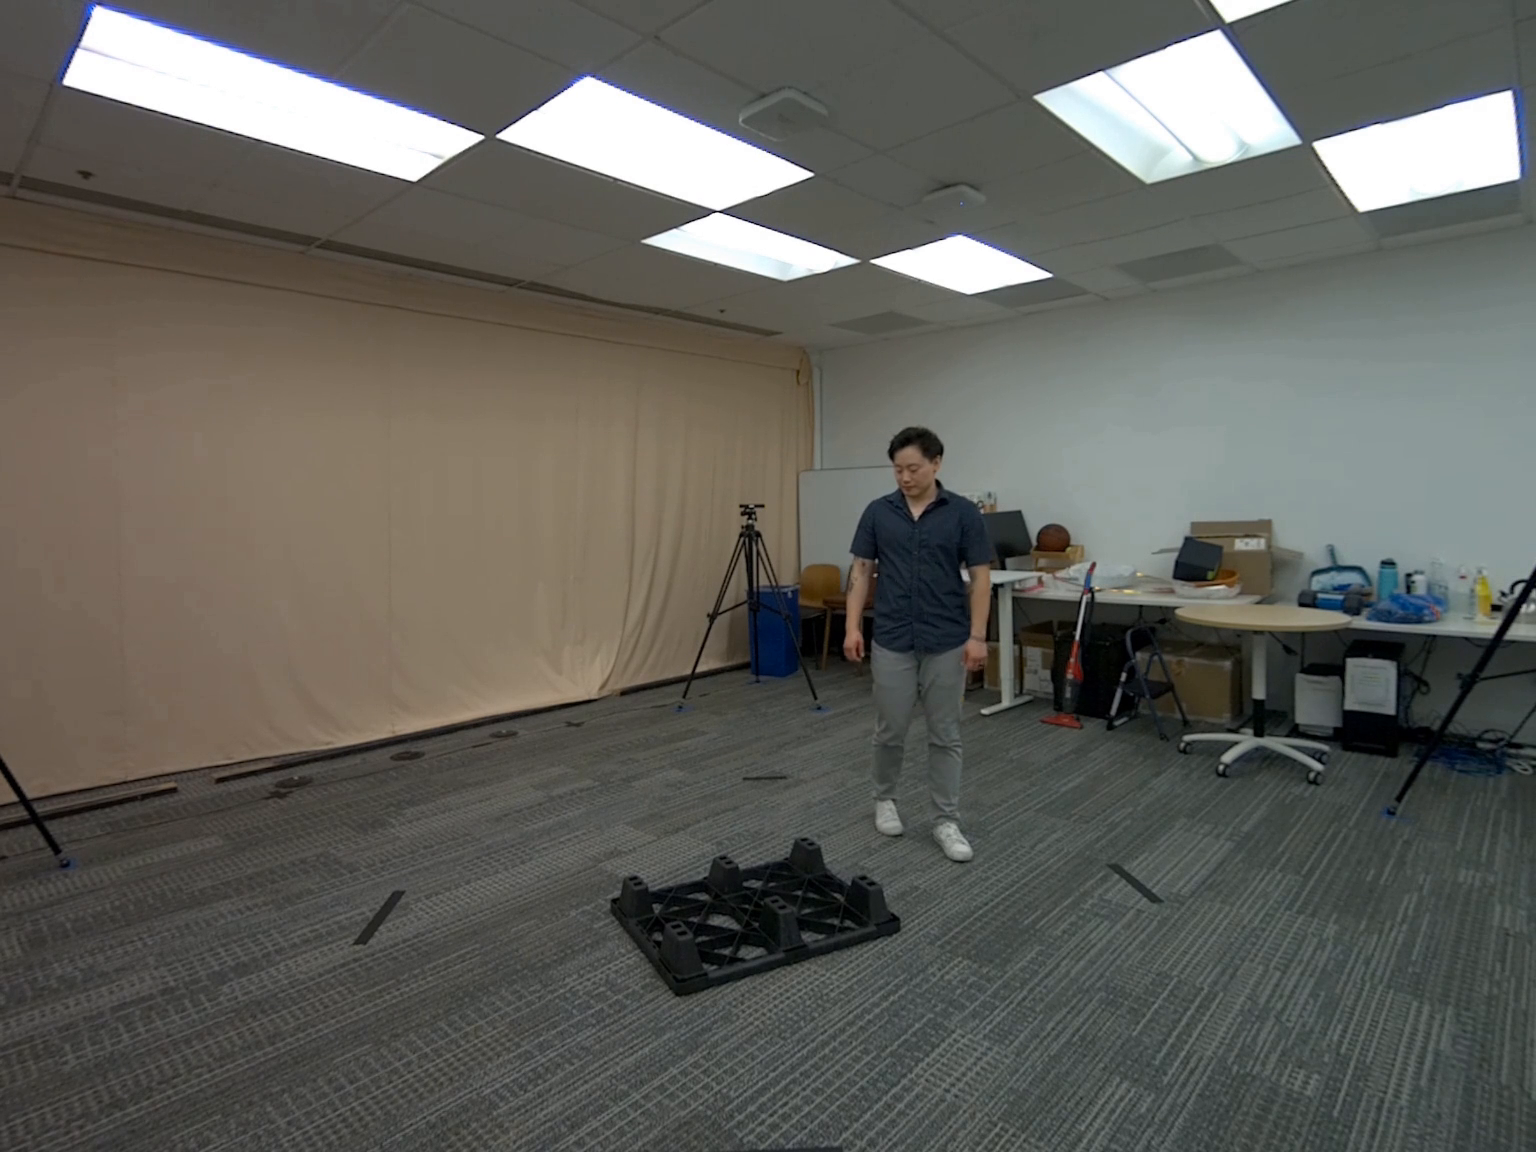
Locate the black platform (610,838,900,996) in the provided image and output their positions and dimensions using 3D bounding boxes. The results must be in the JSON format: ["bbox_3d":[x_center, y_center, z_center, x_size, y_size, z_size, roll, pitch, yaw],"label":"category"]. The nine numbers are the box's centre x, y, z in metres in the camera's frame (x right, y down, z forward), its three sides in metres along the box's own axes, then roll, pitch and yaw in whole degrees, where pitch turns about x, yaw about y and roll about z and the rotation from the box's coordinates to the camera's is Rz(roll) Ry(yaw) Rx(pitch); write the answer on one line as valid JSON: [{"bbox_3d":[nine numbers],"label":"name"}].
[{"bbox_3d":[-0.052,1.086,2.823,0.785,0.143,0.622,-3,6,-28],"label":"black platform"}]
